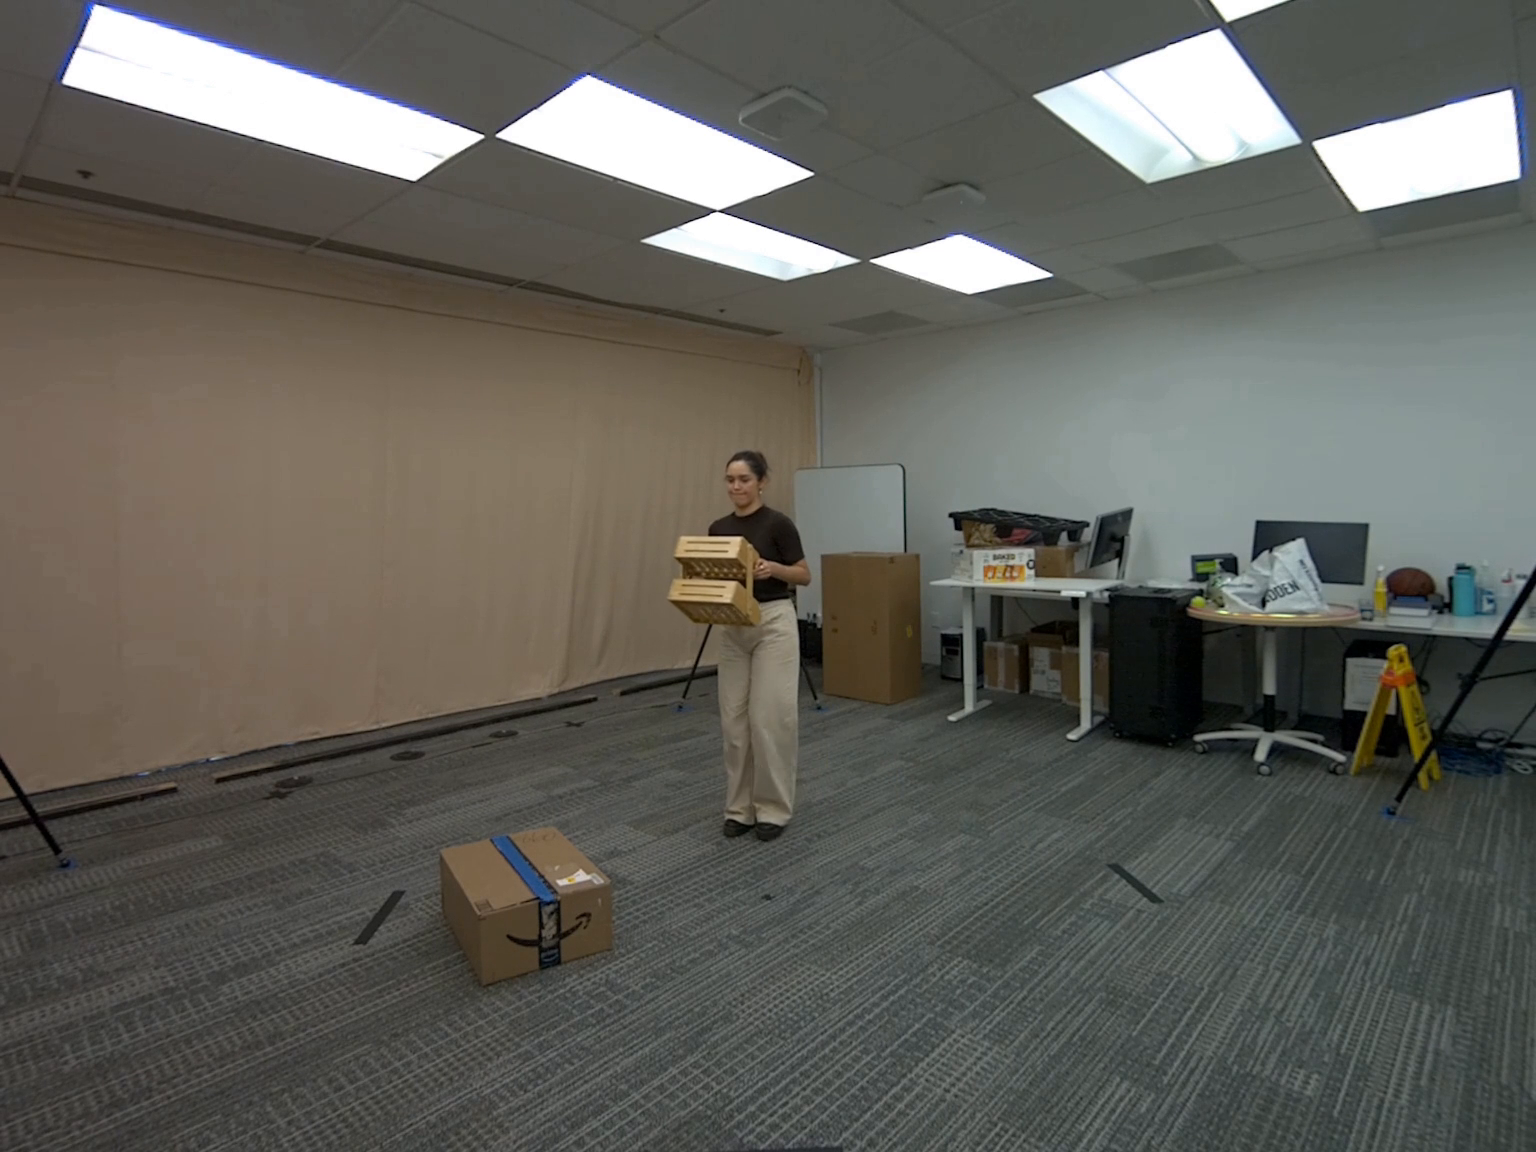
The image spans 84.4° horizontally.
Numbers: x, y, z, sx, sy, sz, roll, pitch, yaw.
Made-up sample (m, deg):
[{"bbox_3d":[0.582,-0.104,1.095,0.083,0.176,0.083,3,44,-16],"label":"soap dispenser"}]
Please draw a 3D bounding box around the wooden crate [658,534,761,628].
[{"bbox_3d":[-0.196,0.022,3.405,0.334,0.275,0.291,1,-25,29],"label":"wooden crate"}]
